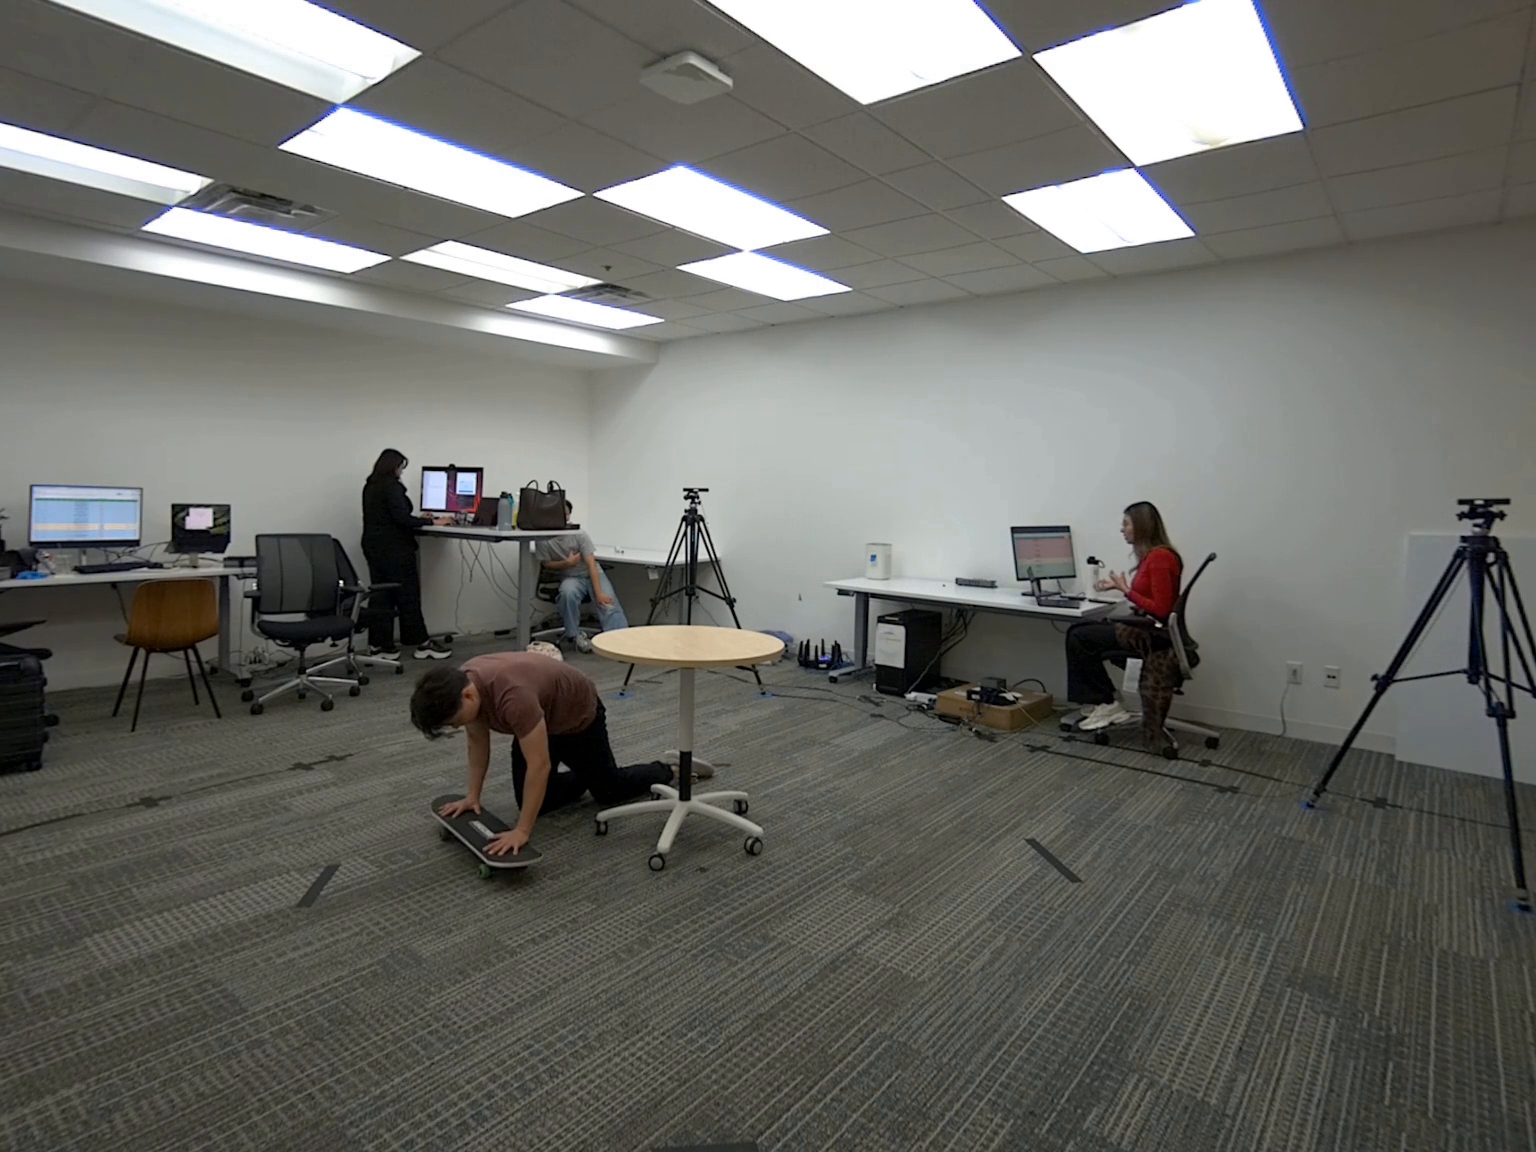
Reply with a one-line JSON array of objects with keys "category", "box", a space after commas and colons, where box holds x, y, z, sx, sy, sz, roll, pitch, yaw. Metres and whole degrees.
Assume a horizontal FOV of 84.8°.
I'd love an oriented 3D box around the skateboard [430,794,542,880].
[{"category": "skateboard", "box": [-1.092, 0.988, 3.205, 0.188, 0.110, 0.812, -2, 6, -39]}]
